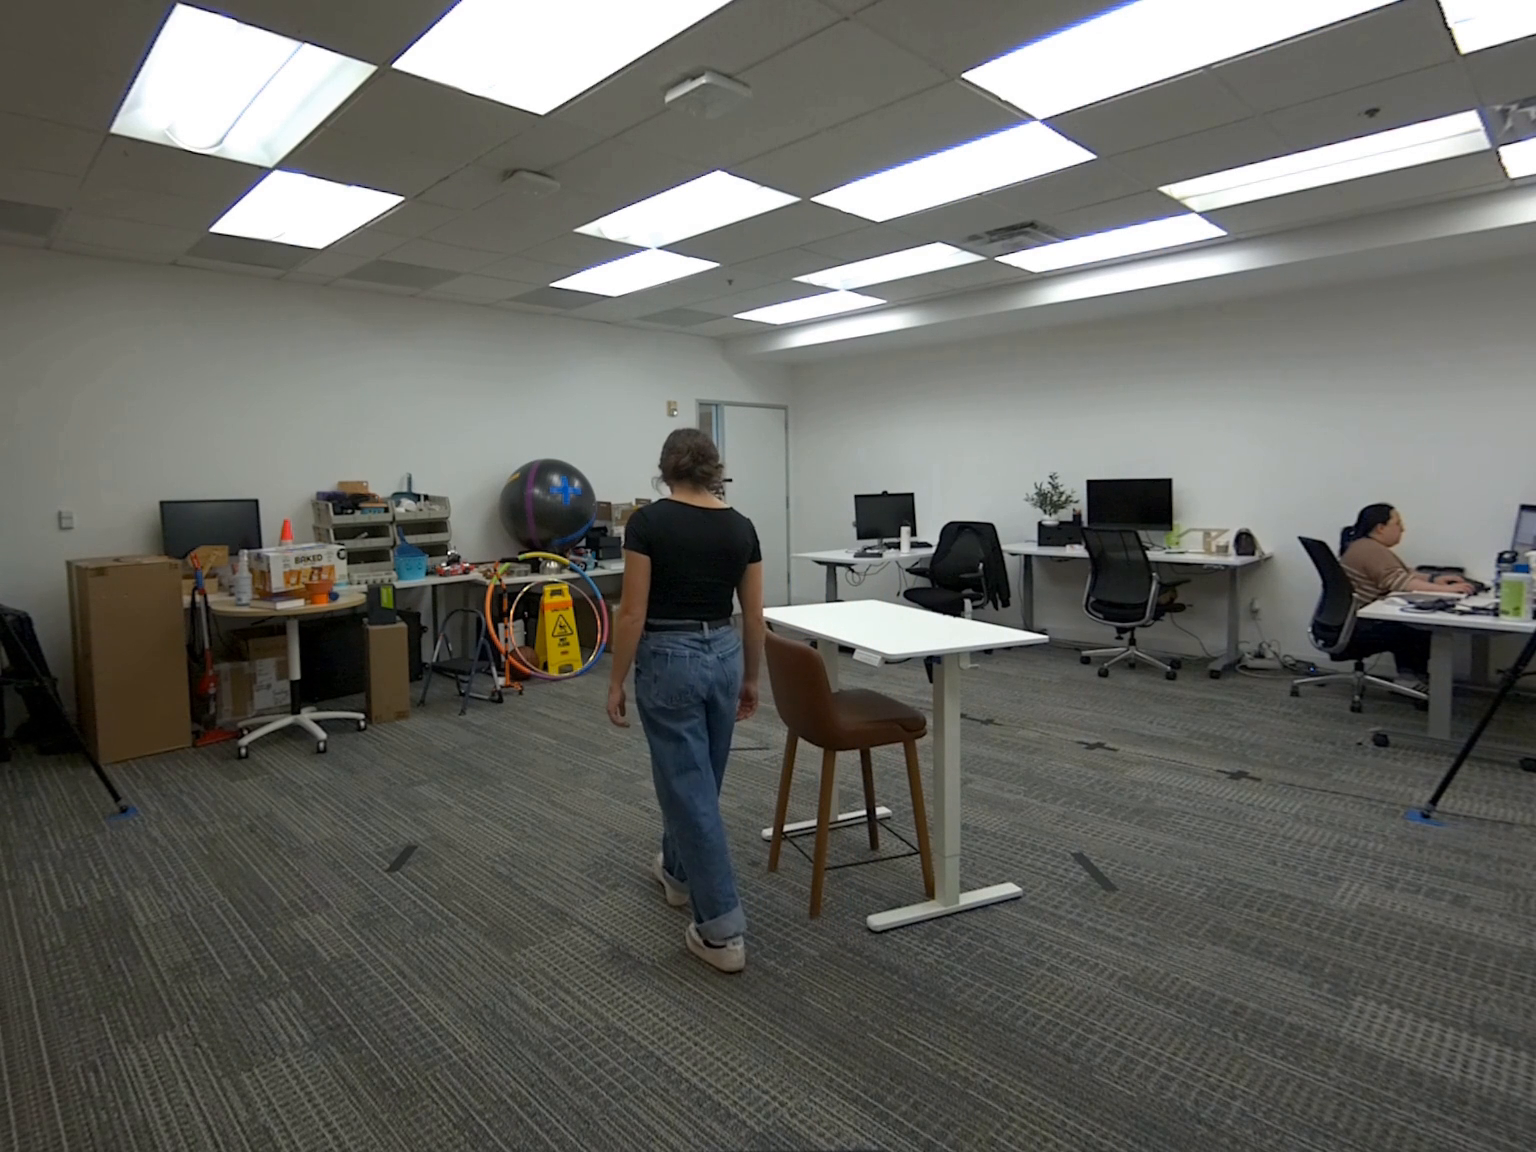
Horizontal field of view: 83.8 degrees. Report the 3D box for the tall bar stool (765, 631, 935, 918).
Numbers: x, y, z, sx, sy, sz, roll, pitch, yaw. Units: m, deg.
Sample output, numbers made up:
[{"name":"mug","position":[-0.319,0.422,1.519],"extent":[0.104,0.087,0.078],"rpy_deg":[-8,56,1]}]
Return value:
[{"name":"tall bar stool","position":[0.259,0.627,2.927],"extent":[0.460,0.886,0.466],"rpy_deg":[-5,5,-20]}]
